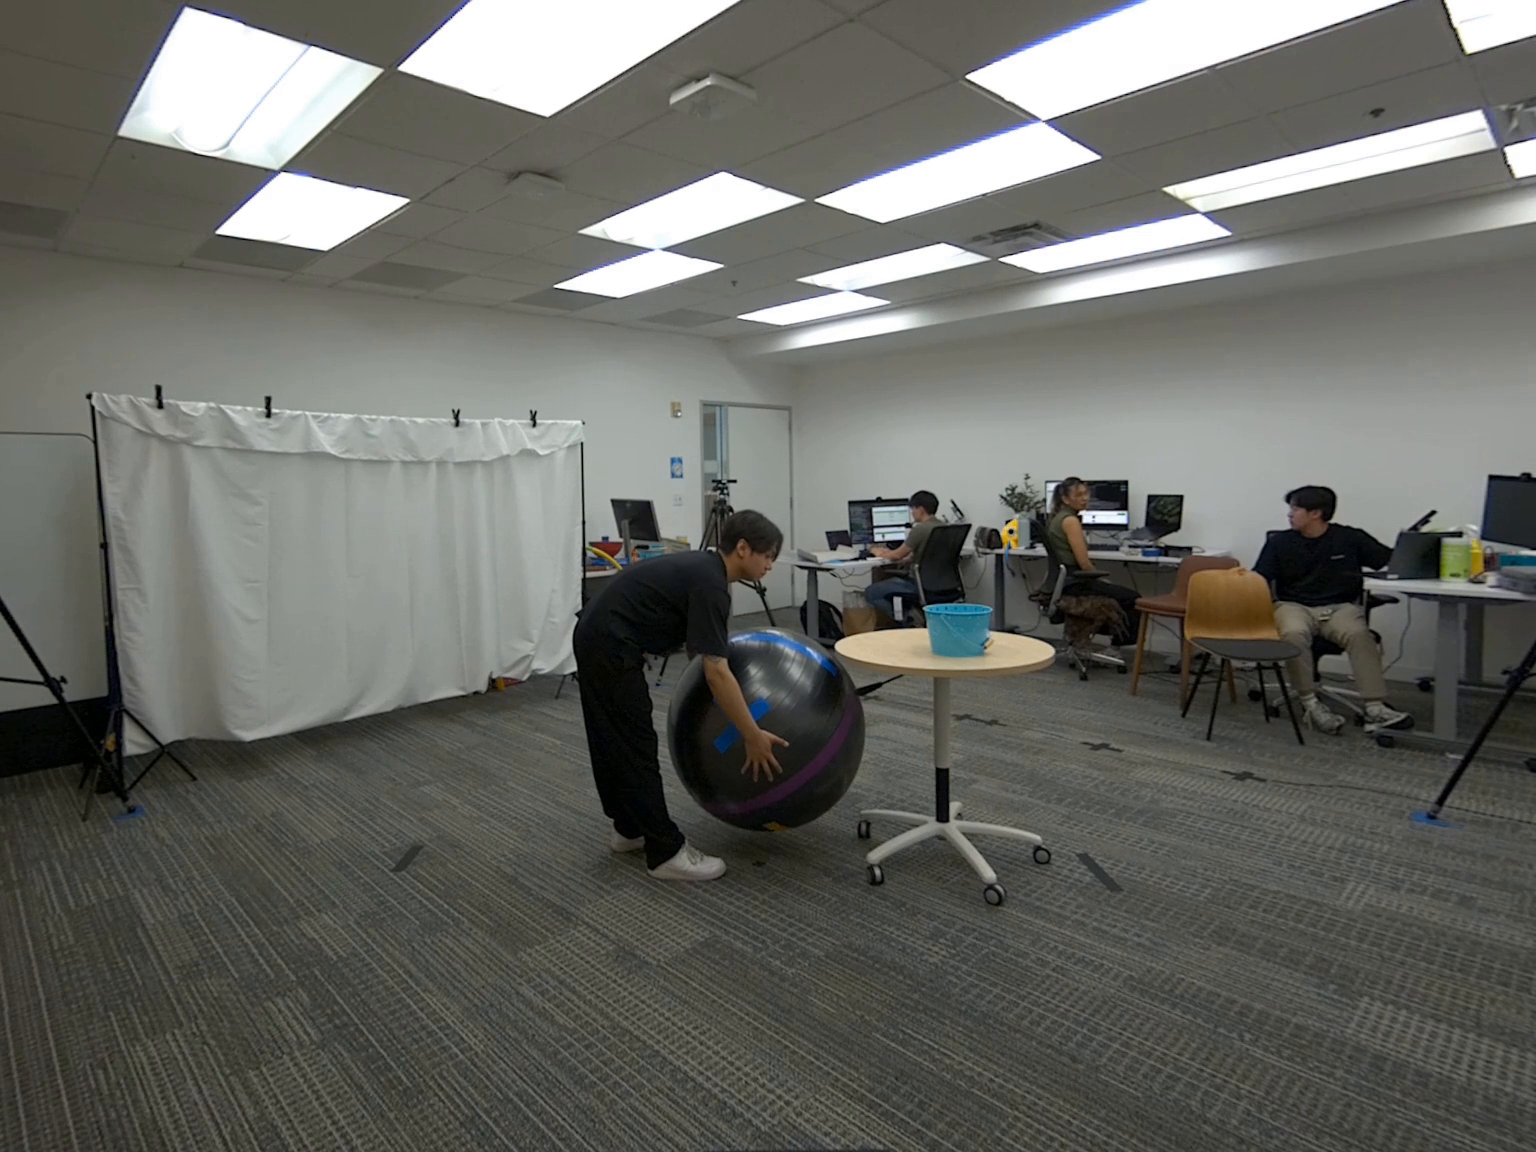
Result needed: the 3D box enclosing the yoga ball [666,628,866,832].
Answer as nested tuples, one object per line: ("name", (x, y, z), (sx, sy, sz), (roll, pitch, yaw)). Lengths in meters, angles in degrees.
("yoga ball", (-0.015, 0.588, 3.283), (0.757, 0.755, 0.762), (-1, 5, -2))
